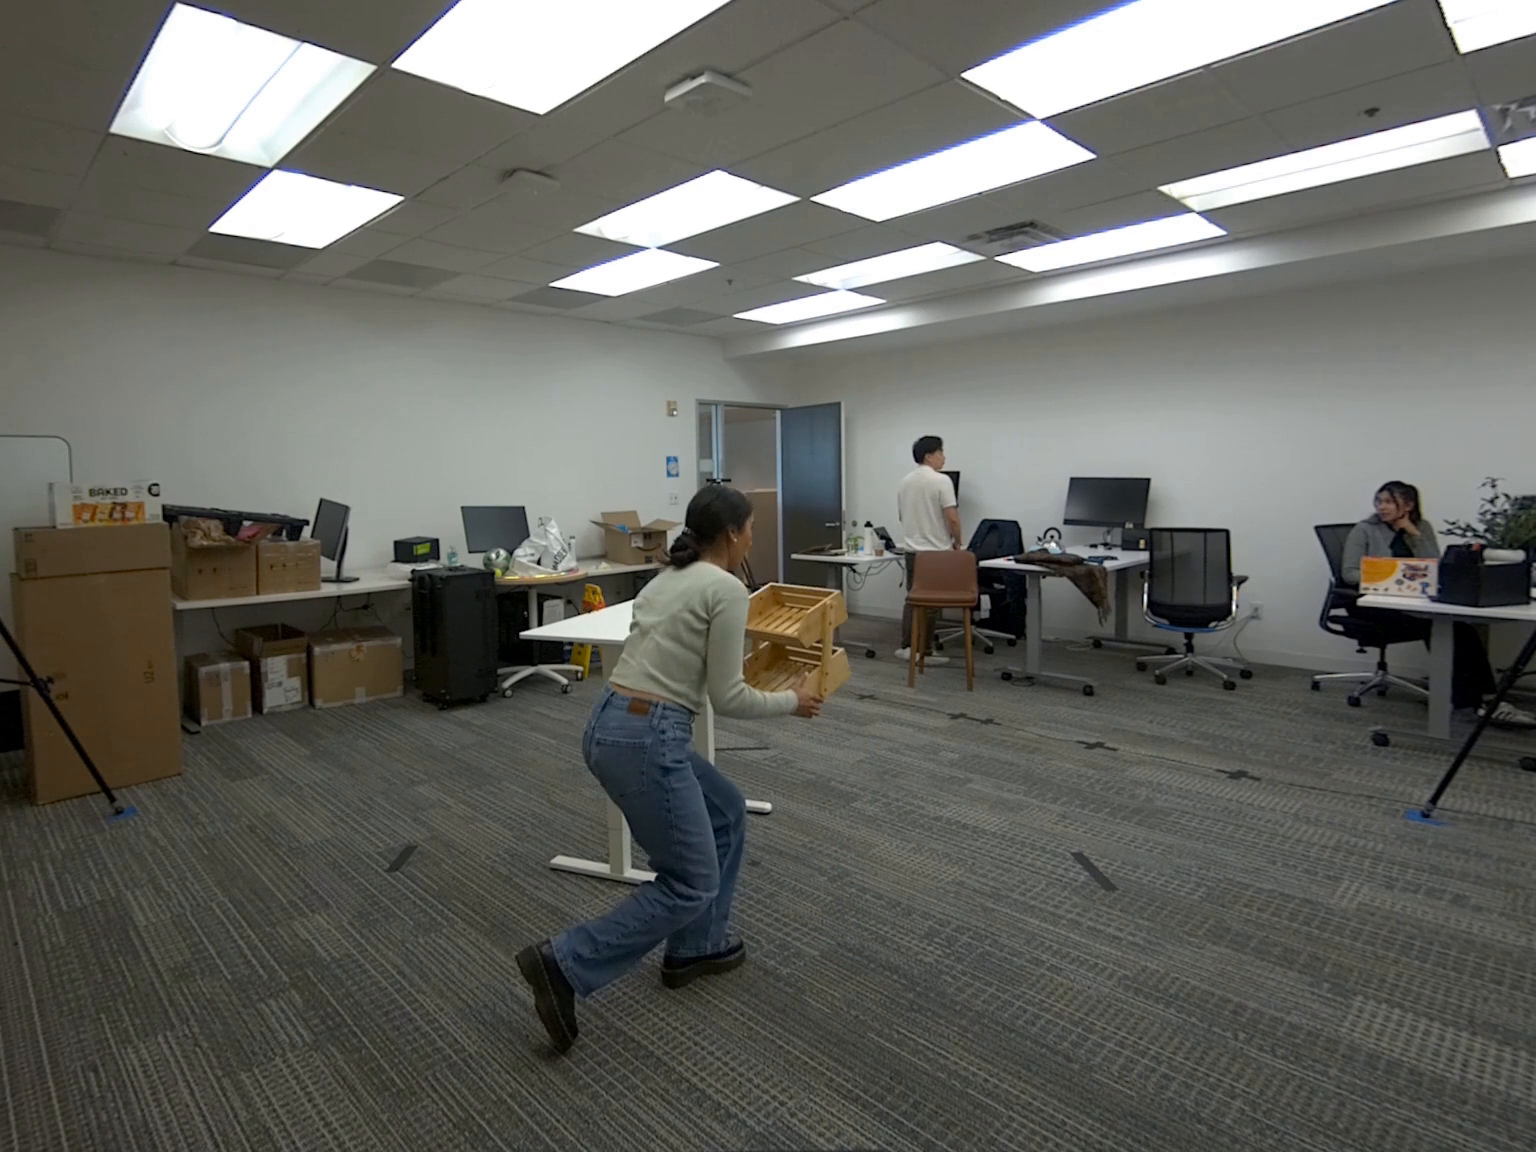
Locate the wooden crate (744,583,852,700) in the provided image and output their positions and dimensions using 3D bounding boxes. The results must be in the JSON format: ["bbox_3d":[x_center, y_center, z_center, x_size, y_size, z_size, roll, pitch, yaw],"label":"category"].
[{"bbox_3d":[0.054,0.212,2.569,0.298,0.268,0.334,-30,22,-36],"label":"wooden crate"}]
